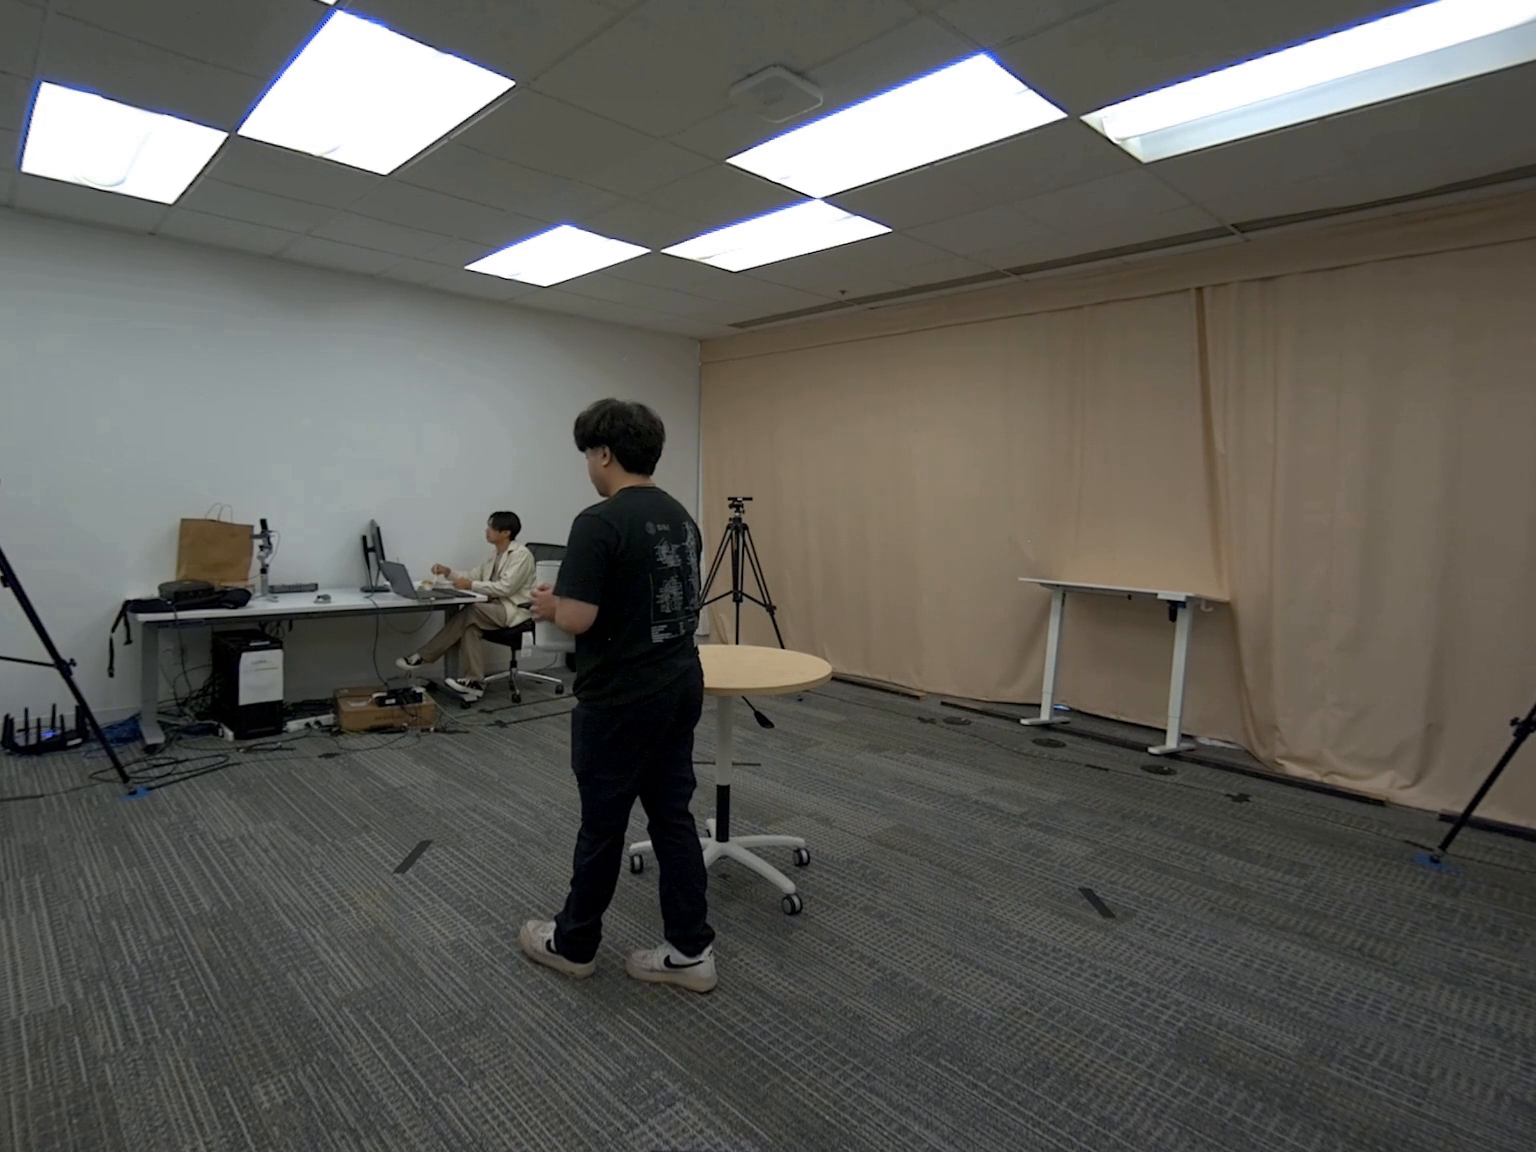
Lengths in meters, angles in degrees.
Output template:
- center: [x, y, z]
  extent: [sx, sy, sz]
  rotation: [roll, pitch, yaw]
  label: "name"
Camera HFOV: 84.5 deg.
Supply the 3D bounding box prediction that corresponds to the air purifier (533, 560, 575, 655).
- center: [-0.619, 0.096, 2.553]
  extent: [0.170, 0.265, 0.172]
  rotation: [2, 2, -7]
  label: "air purifier"
